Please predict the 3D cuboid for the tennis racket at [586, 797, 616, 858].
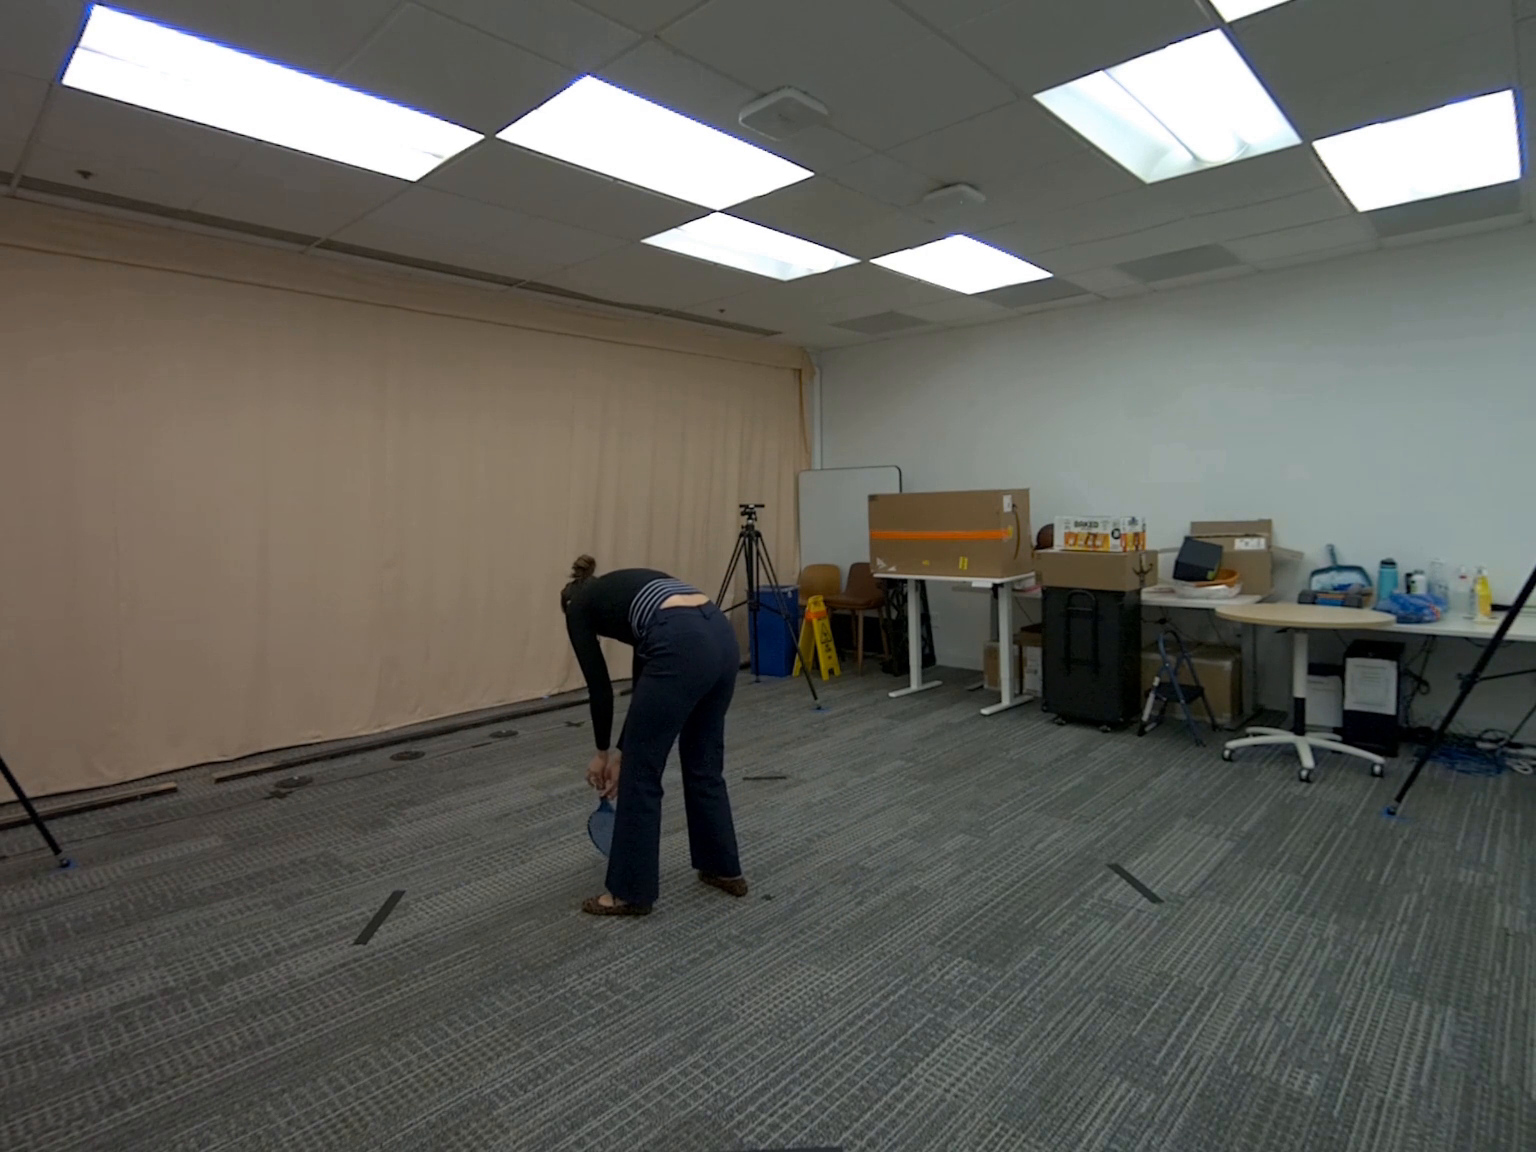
[{"bbox_3d":[-0.612,0.932,3.209,0.218,0.426,0.031,5,27,19],"label":"tennis racket"}]
